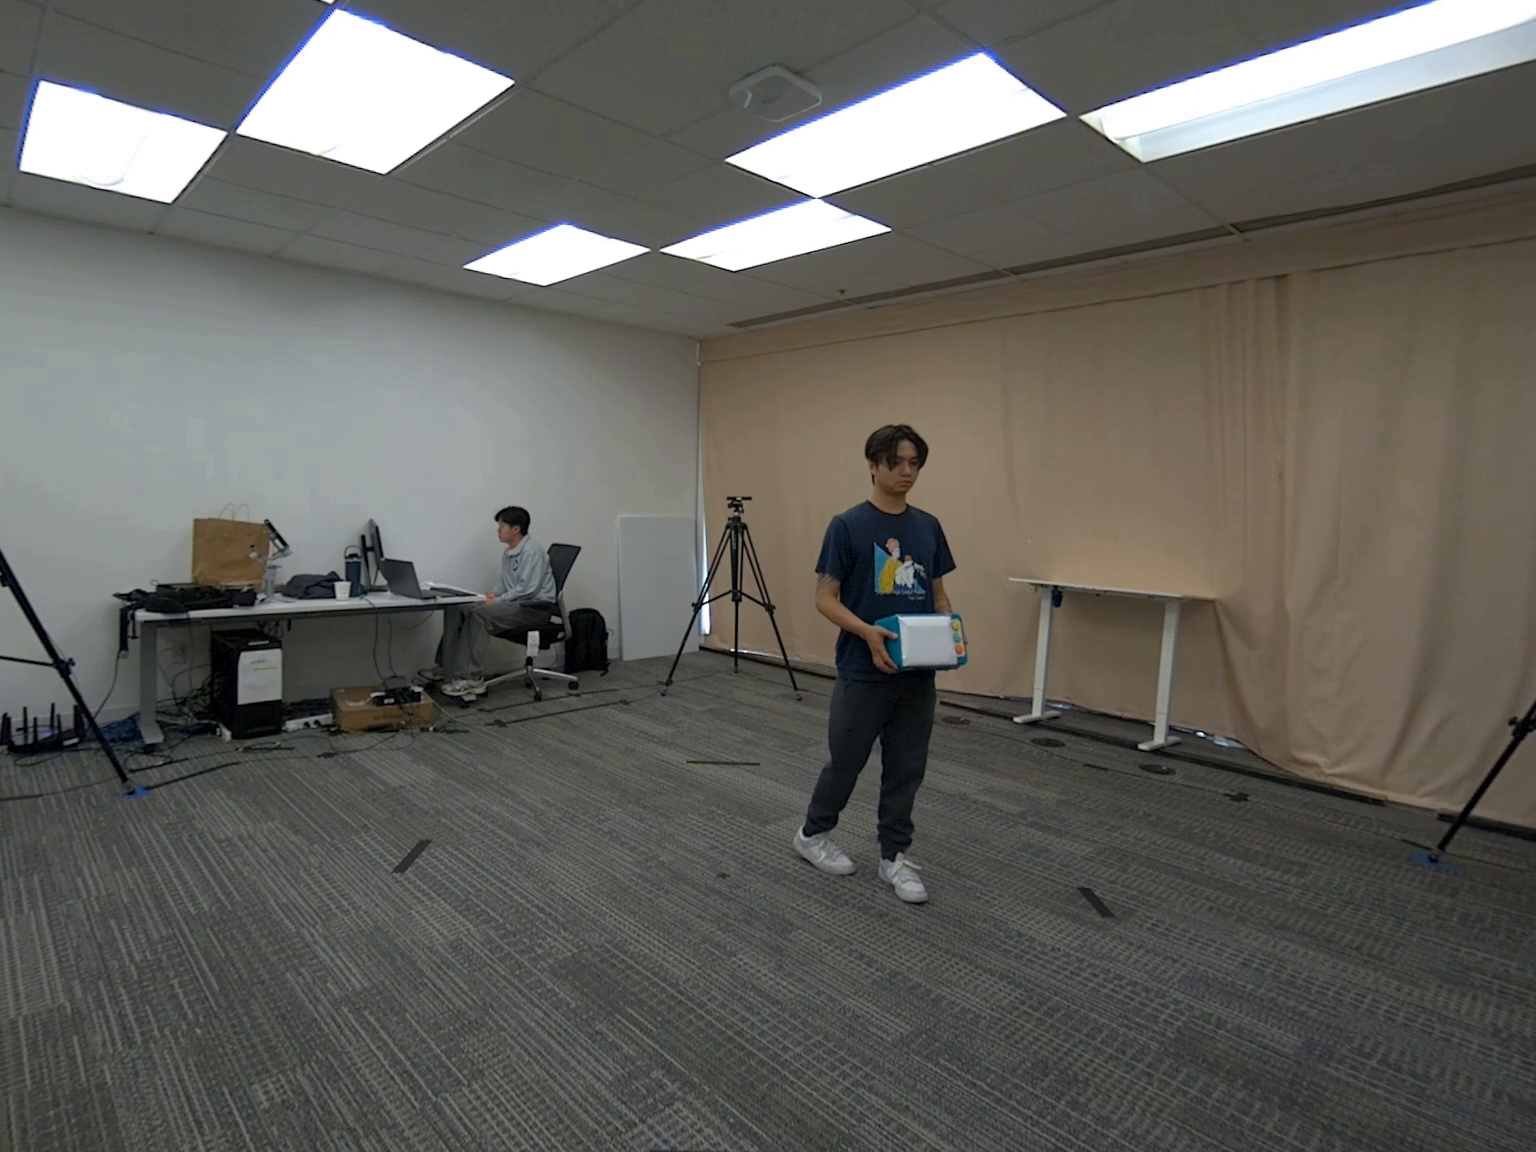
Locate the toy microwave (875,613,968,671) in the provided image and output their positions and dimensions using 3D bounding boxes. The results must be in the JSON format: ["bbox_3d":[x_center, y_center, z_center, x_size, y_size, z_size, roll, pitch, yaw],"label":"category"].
[{"bbox_3d":[0.502,0.224,2.834,0.281,0.186,0.153,1,-14,-24],"label":"toy microwave"}]
